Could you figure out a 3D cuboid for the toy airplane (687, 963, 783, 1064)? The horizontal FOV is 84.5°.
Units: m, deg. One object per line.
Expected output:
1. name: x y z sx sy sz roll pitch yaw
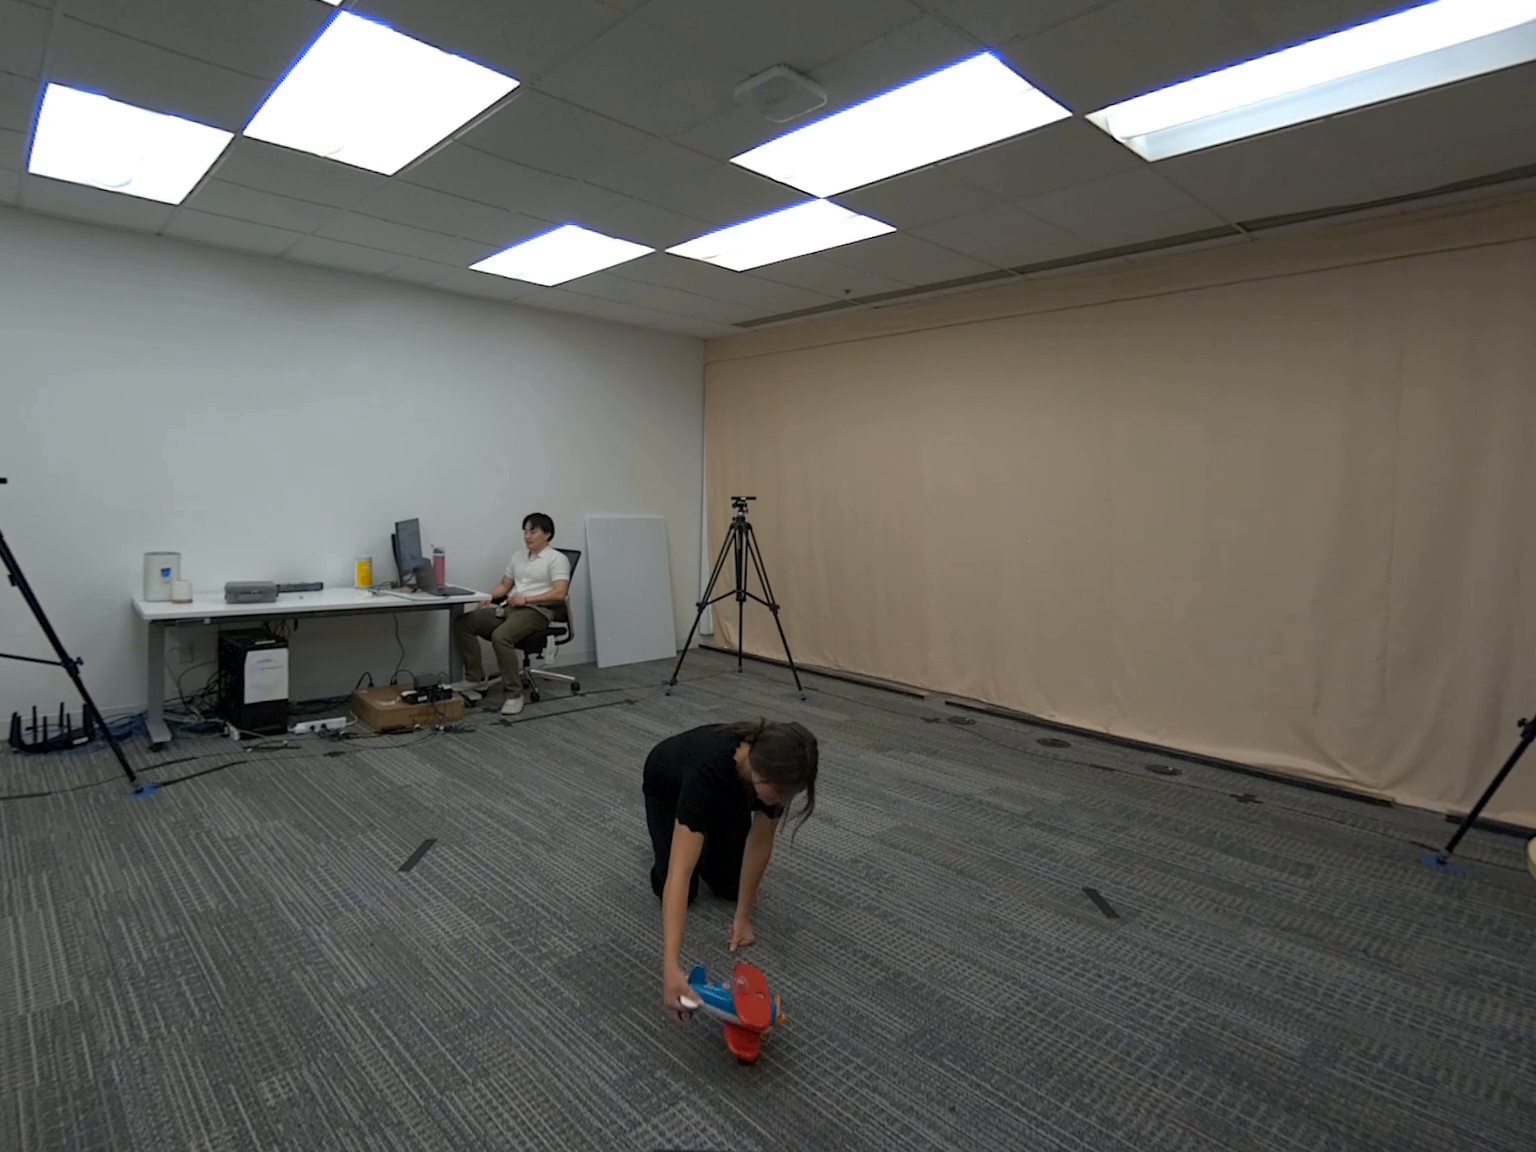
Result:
1. toy airplane: -0.094 1.097 2.095 0.252 0.156 0.258 33 2 -34
